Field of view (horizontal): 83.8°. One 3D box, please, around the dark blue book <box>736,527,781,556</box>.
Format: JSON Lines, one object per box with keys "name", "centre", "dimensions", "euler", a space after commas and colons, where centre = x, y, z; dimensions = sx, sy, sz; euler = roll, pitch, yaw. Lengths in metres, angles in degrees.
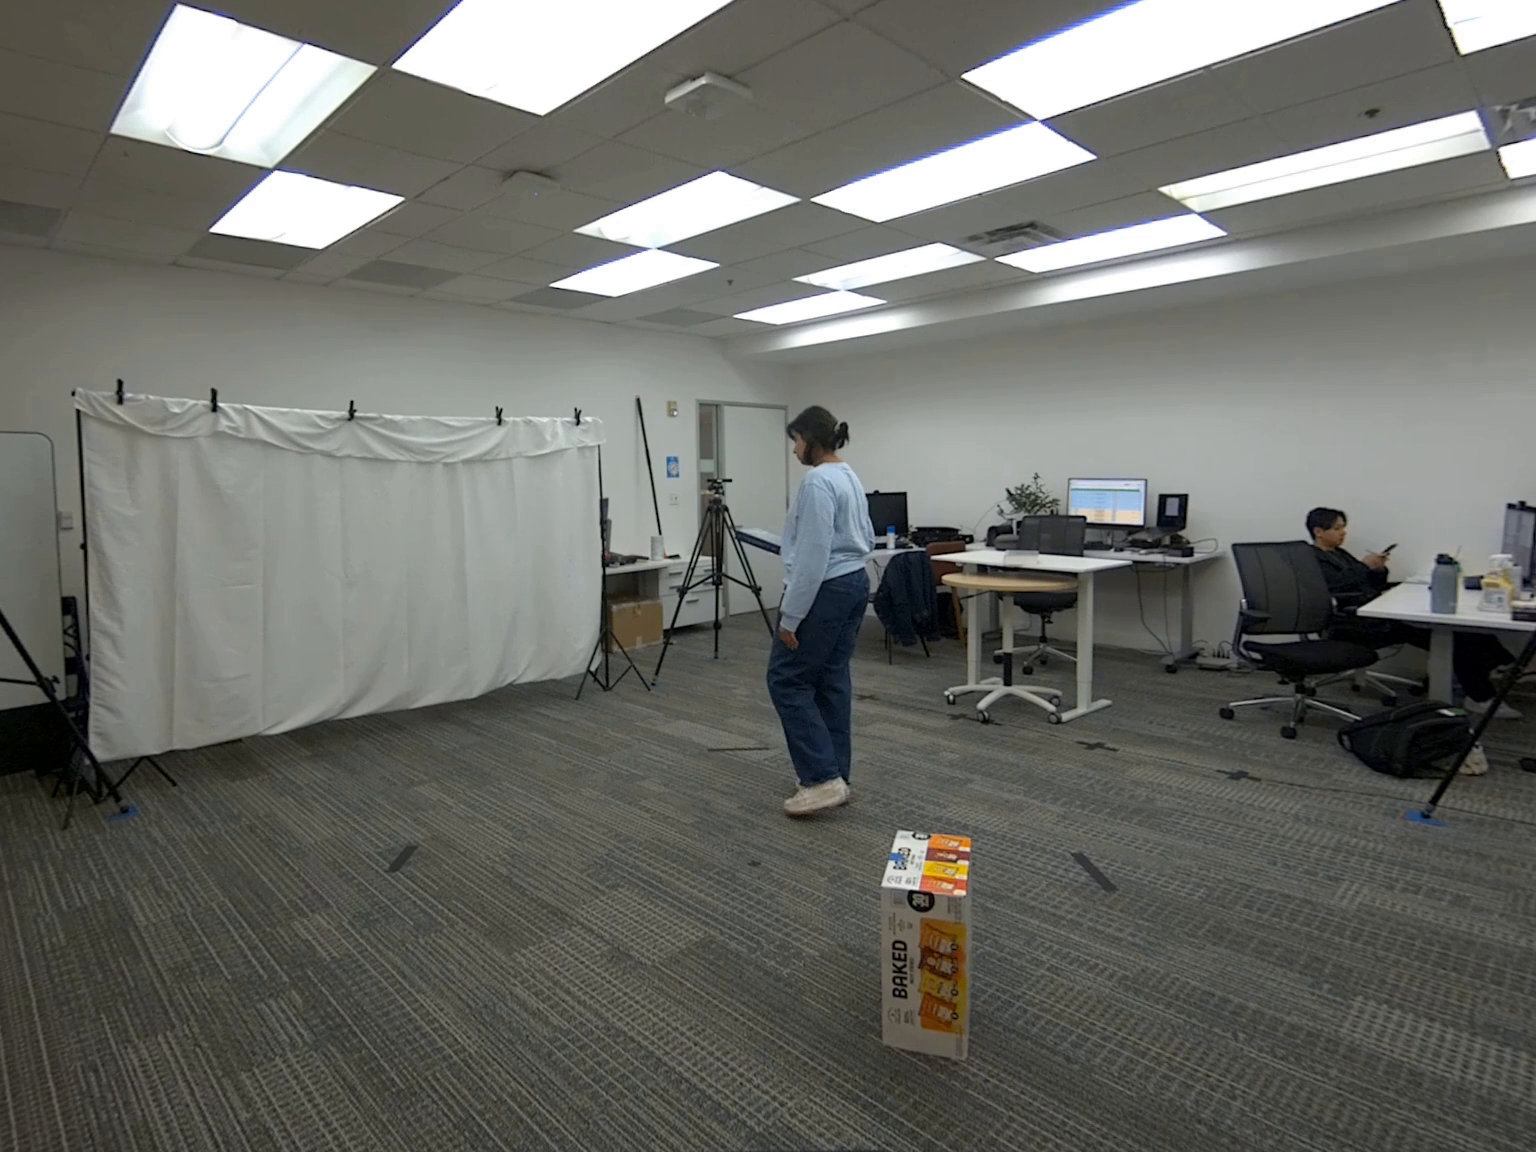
{"name": "dark blue book", "centre": [-0.005, -0.161, 3.857], "dimensions": [0.253, 0.045, 0.160], "euler": [20, 18, 29]}
